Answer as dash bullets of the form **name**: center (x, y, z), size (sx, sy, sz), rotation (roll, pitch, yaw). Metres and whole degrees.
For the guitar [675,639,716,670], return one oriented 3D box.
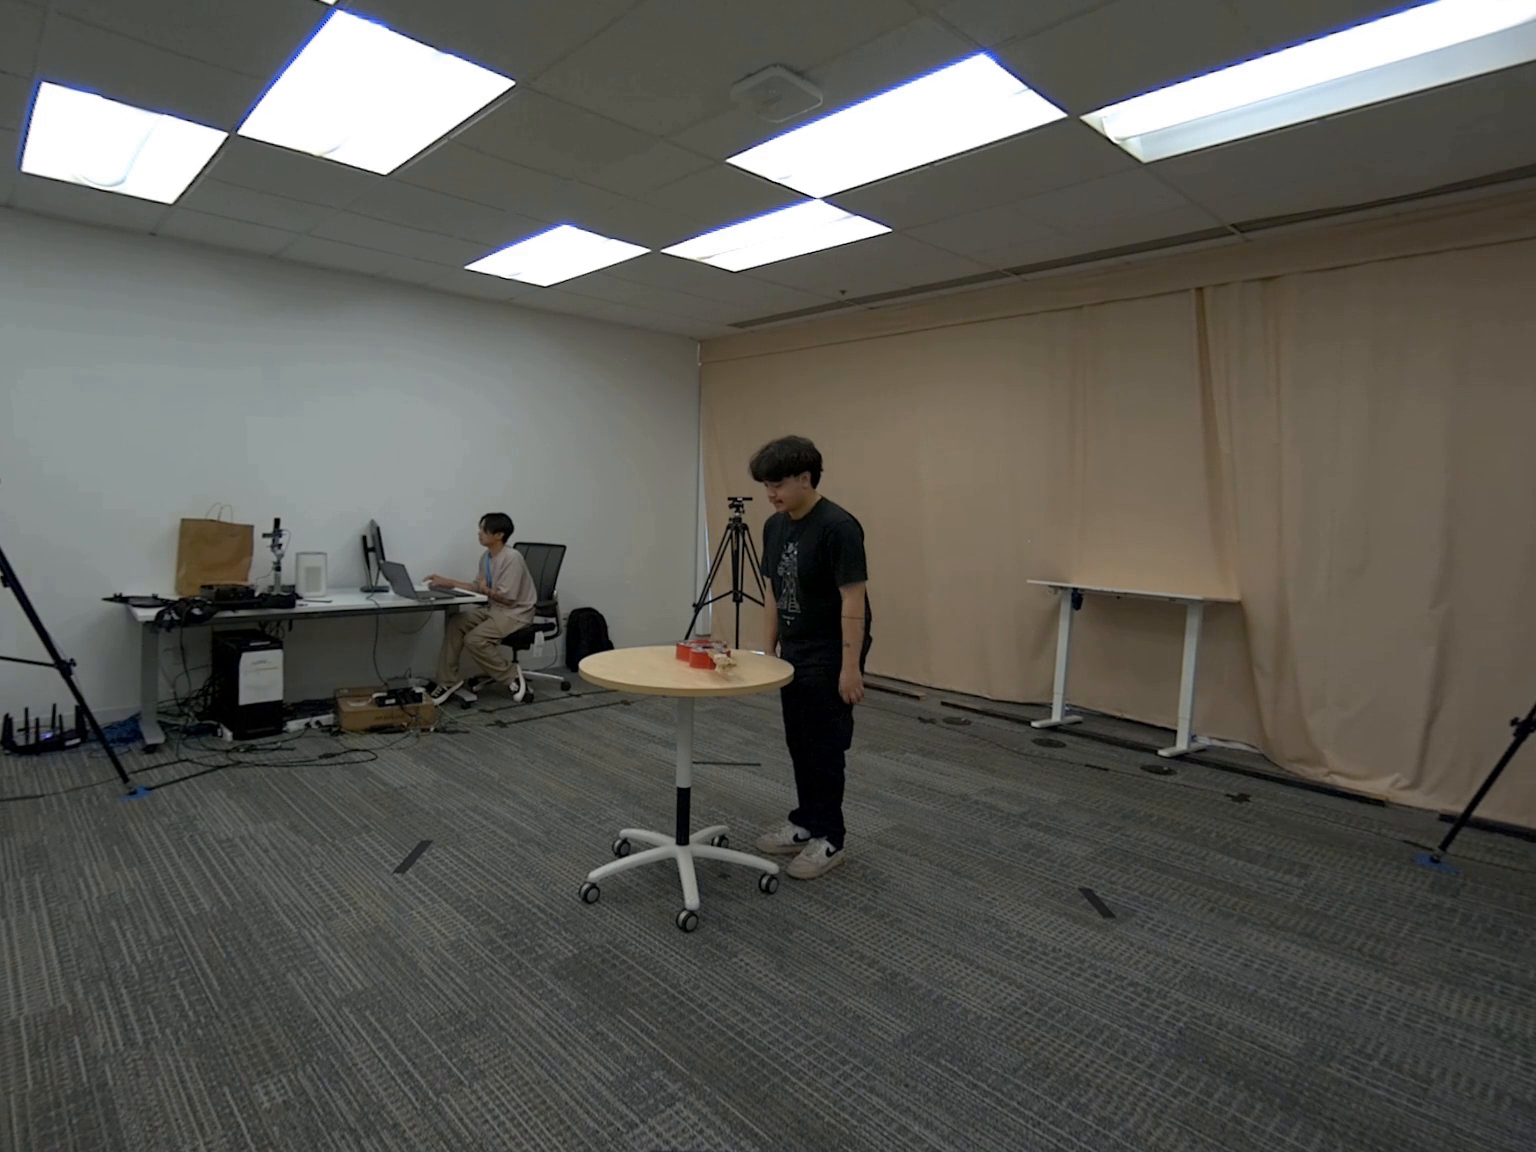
- **guitar**: center (-0.243, 0.284, 2.985), size (0.192, 0.070, 0.502), rotation (-2, 7, -7)
